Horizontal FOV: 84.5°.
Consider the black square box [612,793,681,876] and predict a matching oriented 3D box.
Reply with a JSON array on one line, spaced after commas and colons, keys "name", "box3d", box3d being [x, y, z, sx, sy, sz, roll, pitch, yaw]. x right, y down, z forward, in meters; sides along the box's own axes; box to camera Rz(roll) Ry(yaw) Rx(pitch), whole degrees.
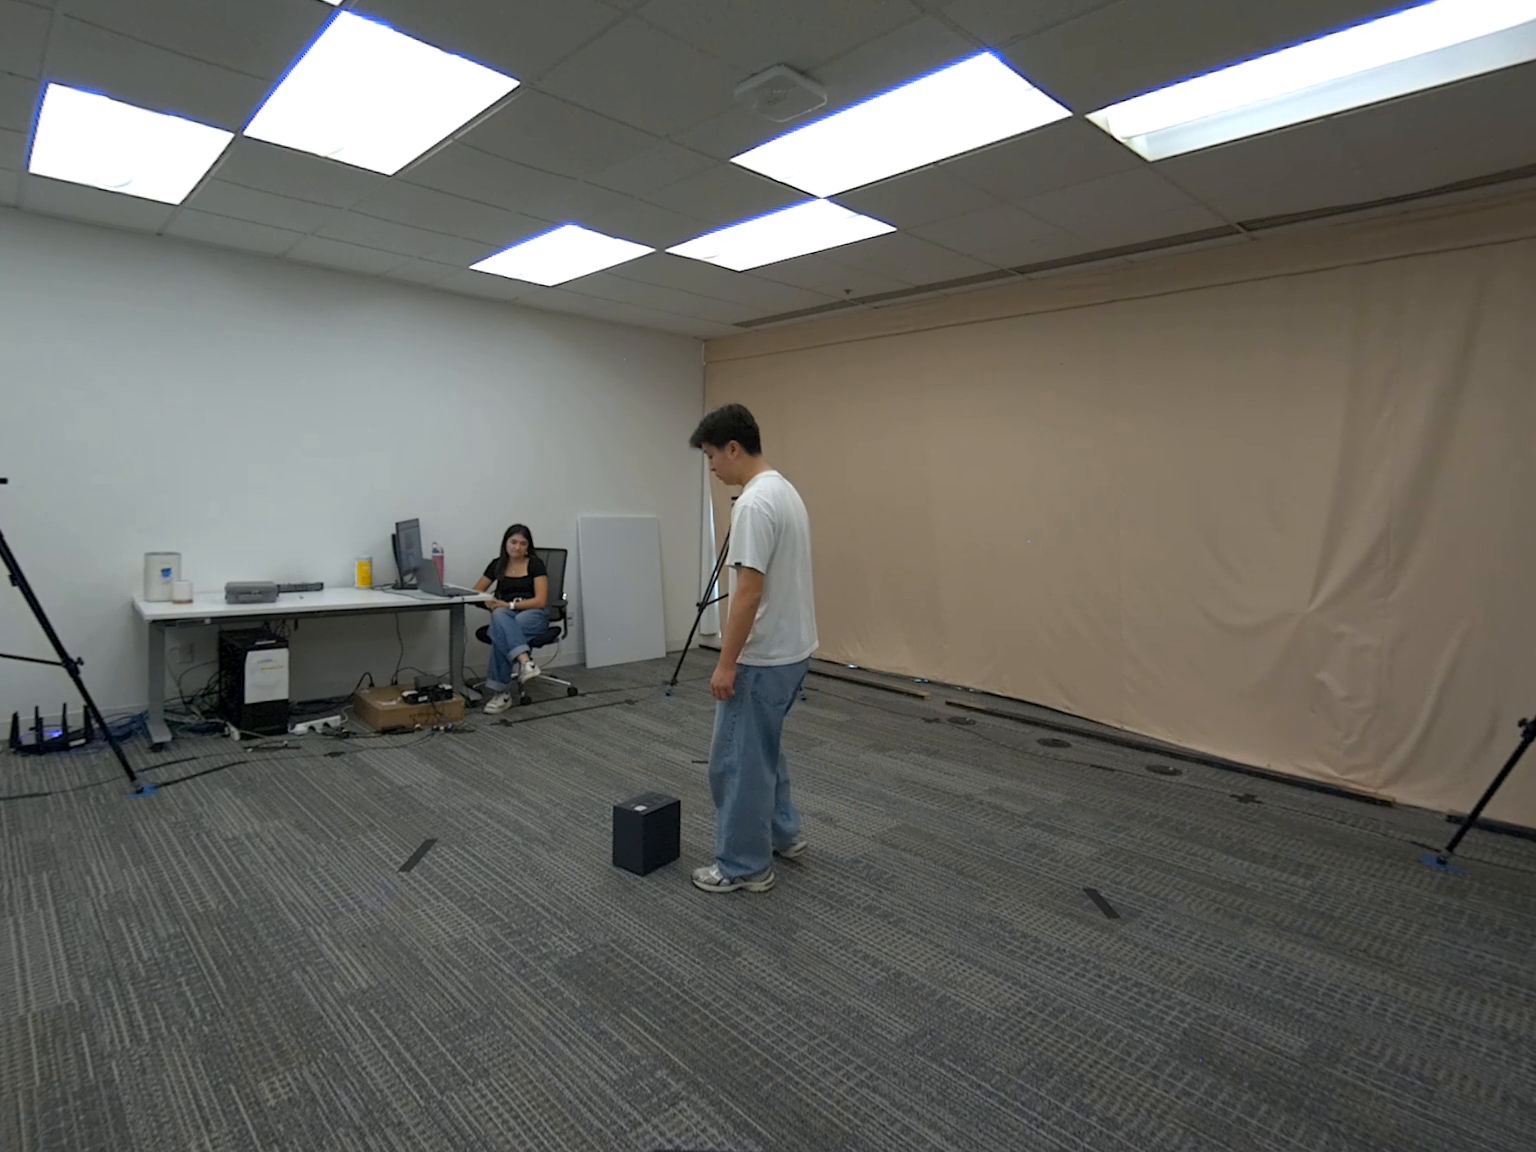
[{"name": "black square box", "box3d": [-0.461, 0.966, 3.202, 0.159, 0.227, 0.212, 3, 4, 35]}]
